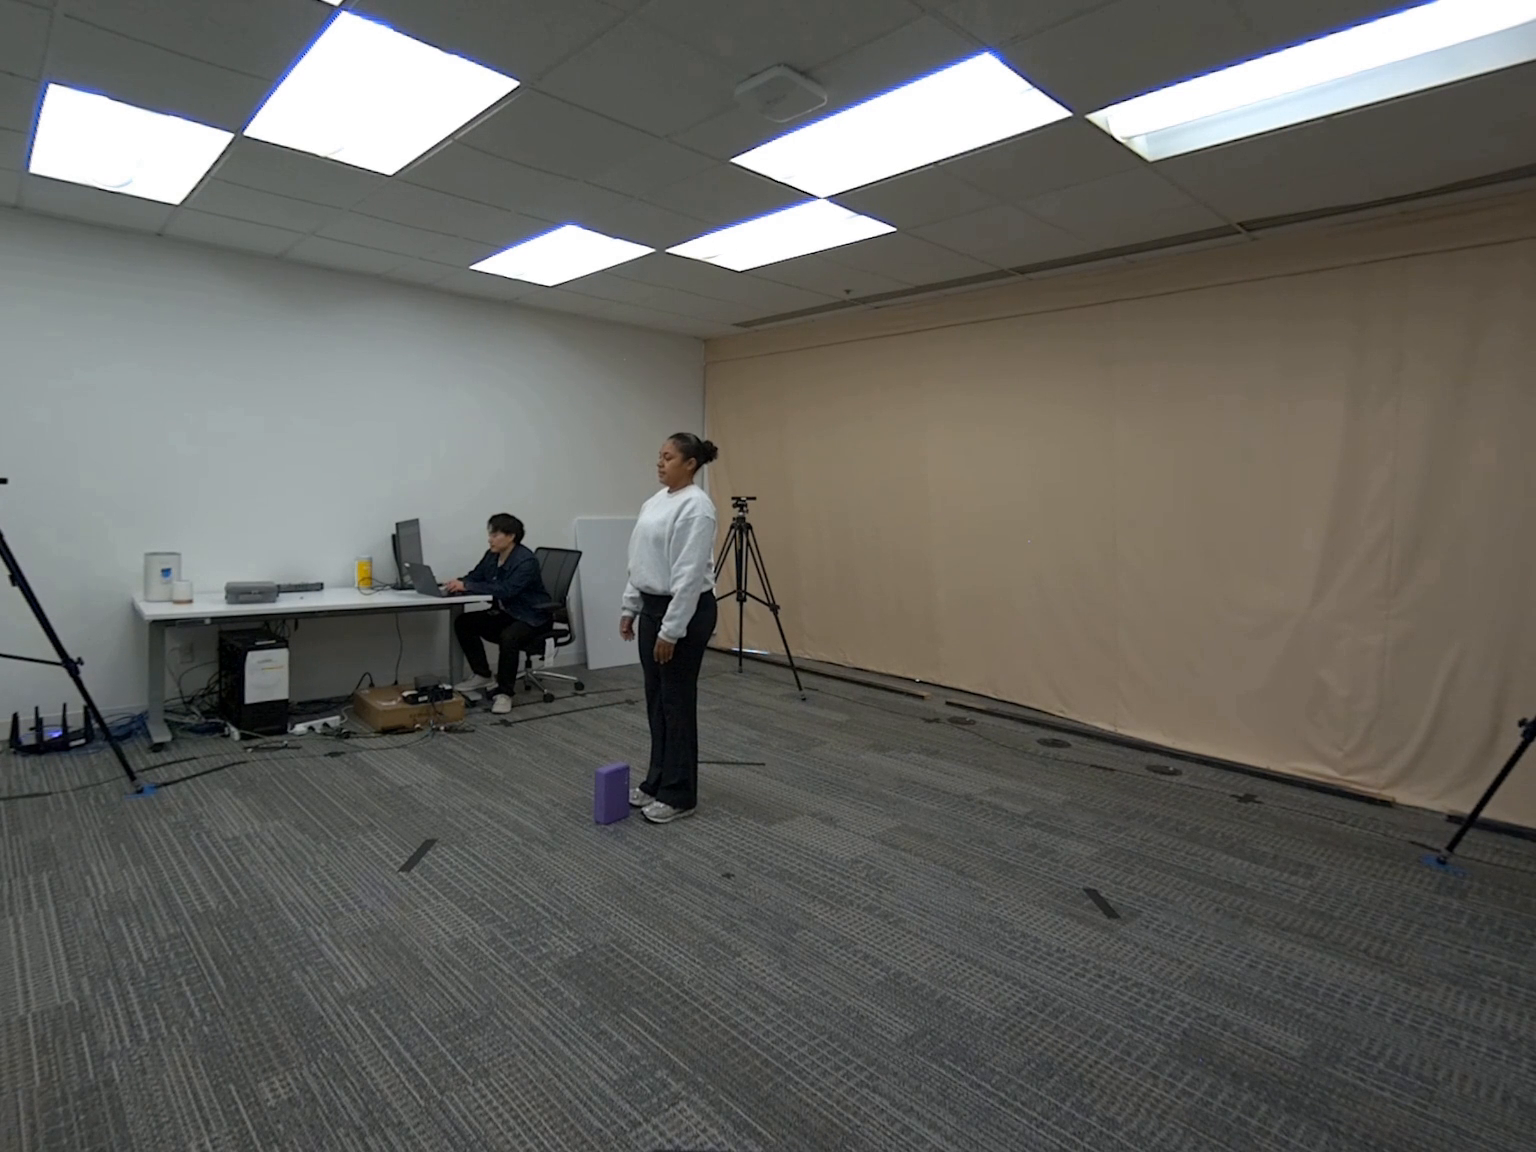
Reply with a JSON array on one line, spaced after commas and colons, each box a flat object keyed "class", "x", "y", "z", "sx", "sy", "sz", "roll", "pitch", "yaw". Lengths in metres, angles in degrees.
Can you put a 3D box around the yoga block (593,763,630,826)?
[{"class": "yoga block", "x": -0.680, "y": 0.931, "z": 3.616, "sx": 0.078, "sy": 0.229, "sz": 0.146, "roll": 5, "pitch": 5, "yaw": 34}]
